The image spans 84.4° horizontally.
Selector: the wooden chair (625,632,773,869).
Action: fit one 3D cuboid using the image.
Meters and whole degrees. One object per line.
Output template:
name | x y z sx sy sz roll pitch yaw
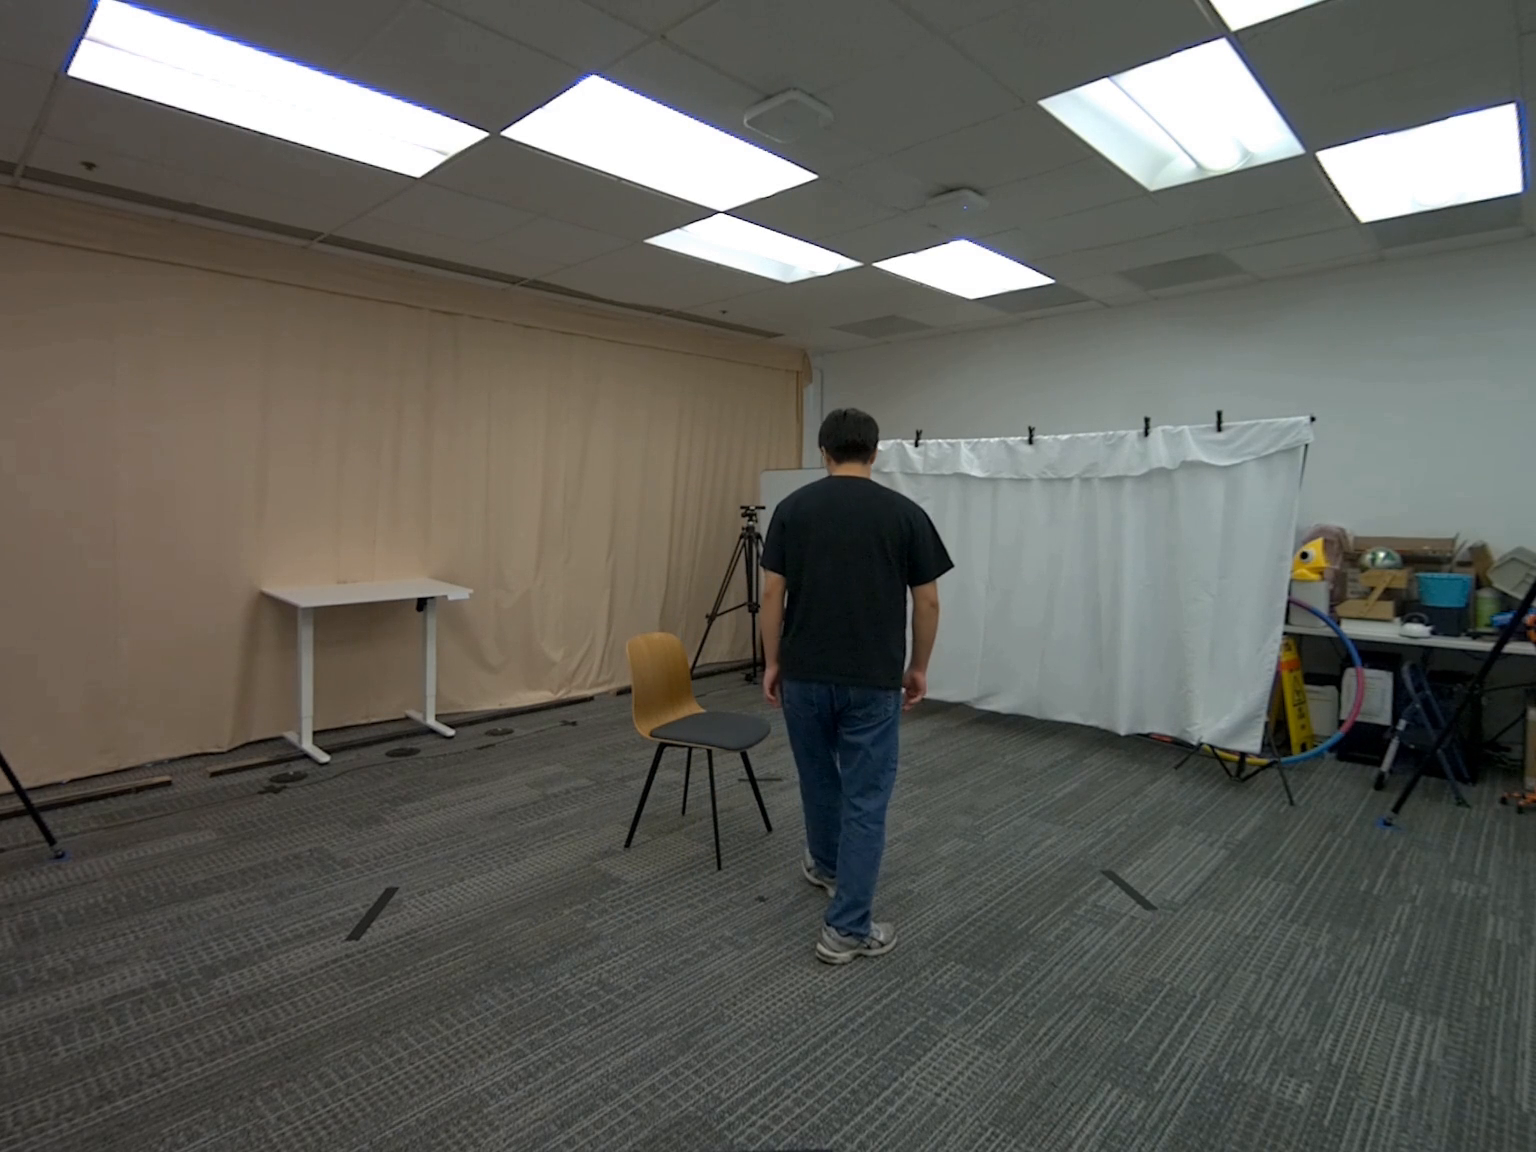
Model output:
wooden chair | -0.280 0.675 3.485 0.537 0.877 0.466 -4 1 29
